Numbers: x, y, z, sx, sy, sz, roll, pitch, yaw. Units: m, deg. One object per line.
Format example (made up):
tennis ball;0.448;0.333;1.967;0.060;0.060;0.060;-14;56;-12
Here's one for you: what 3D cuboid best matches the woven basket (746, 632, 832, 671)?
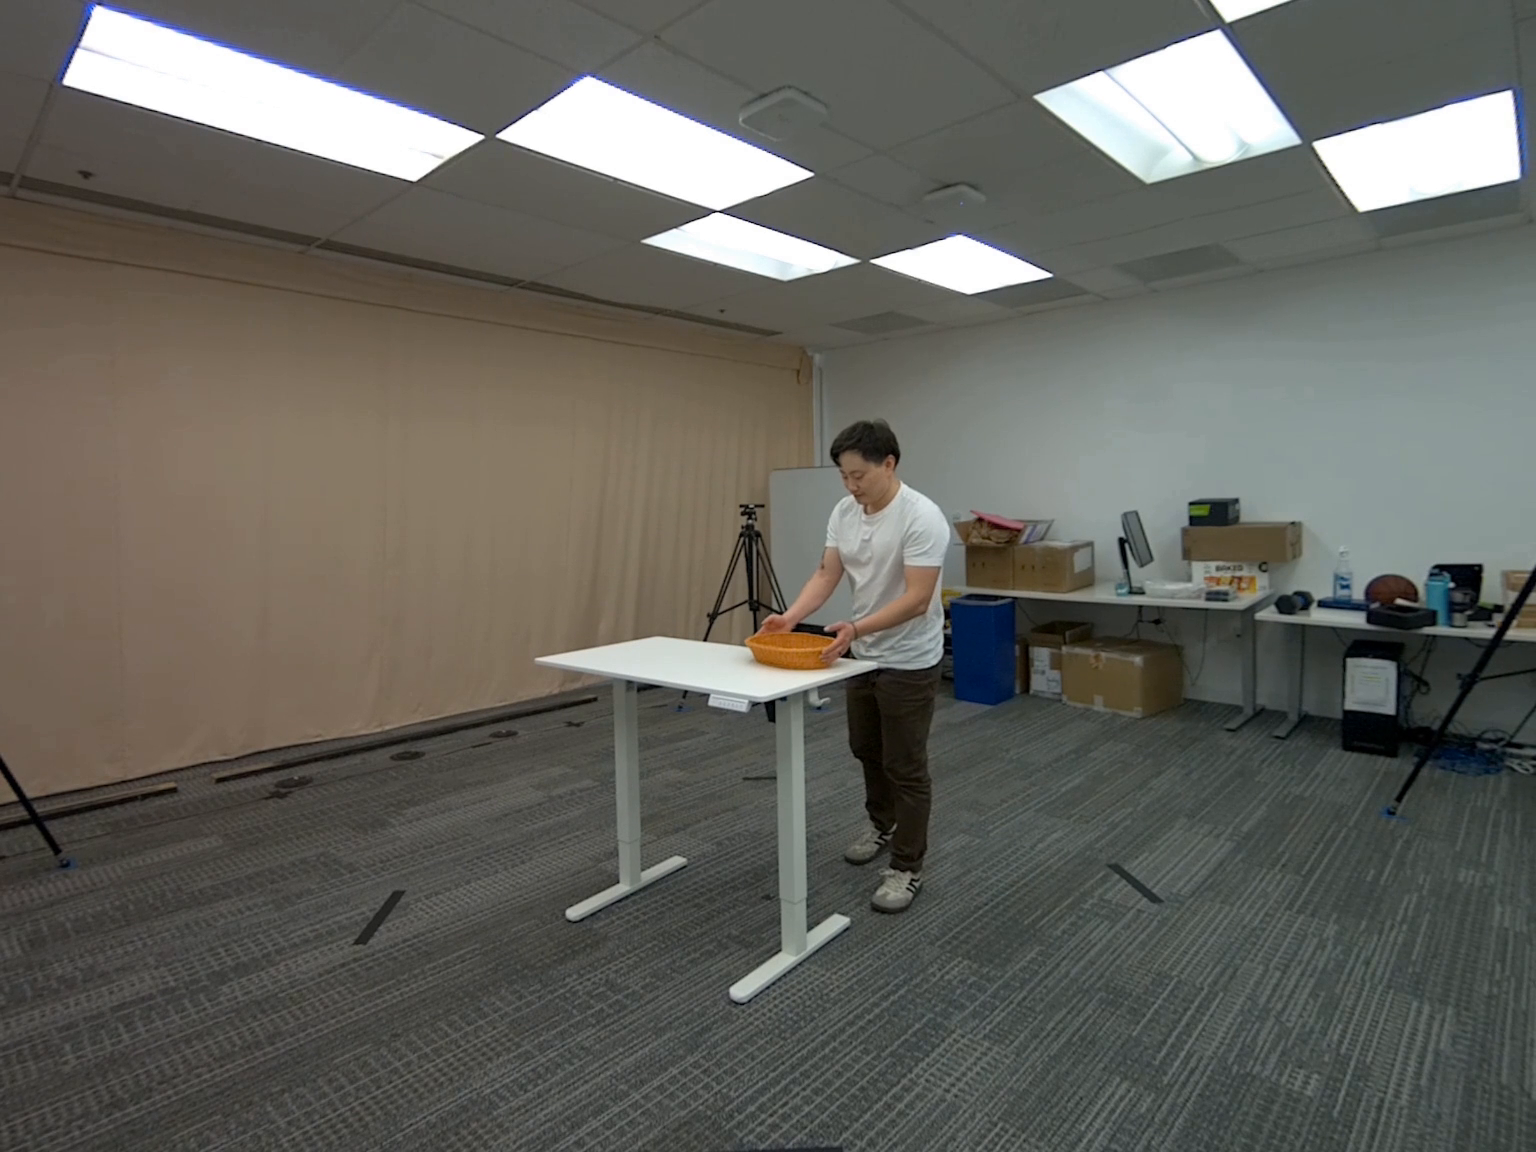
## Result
woven basket;0.090;0.246;2.693;0.245;0.073;0.362;-5;6;-38
